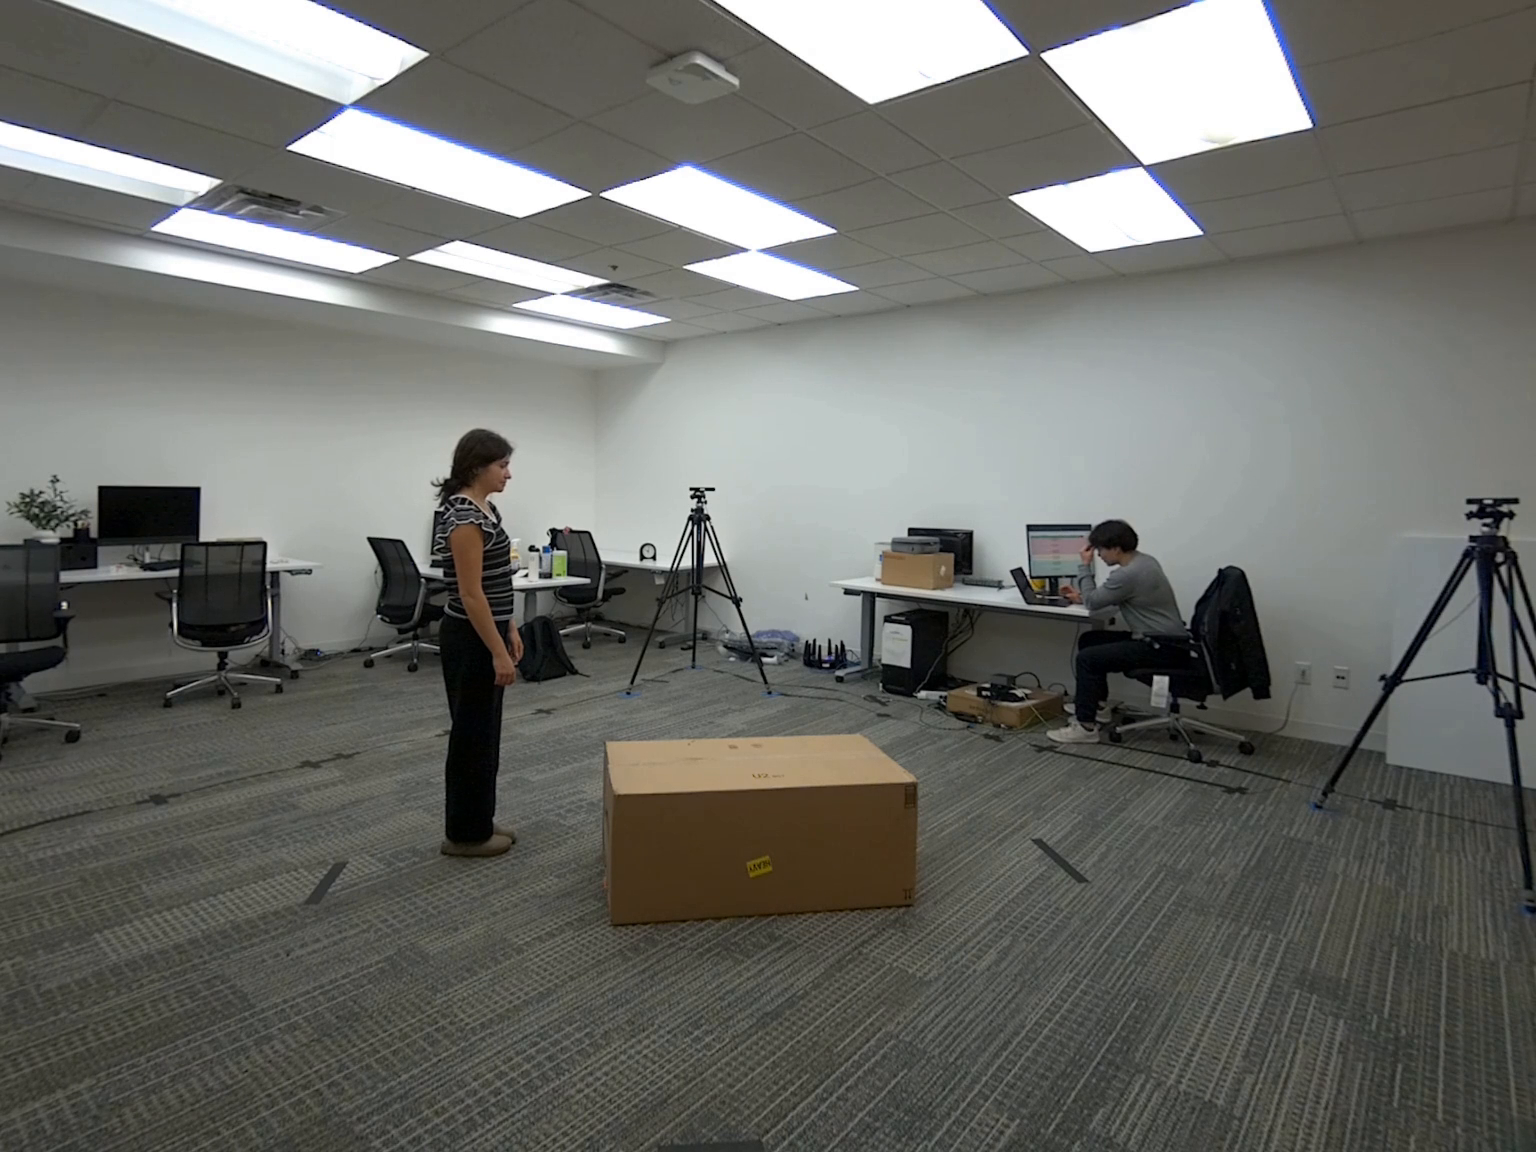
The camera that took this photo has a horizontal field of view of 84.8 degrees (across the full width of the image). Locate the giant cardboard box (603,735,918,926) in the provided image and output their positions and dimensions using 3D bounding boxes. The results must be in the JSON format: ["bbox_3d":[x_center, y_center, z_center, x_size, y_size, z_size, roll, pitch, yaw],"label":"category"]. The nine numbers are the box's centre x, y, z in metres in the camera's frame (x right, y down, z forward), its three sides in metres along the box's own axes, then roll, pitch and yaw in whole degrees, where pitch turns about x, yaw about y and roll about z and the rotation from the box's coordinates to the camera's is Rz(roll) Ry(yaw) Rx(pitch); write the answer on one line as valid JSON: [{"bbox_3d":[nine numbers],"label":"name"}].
[{"bbox_3d":[-0.071,0.862,3.038,1.014,0.425,0.586,0,4,-11],"label":"giant cardboard box"}]
